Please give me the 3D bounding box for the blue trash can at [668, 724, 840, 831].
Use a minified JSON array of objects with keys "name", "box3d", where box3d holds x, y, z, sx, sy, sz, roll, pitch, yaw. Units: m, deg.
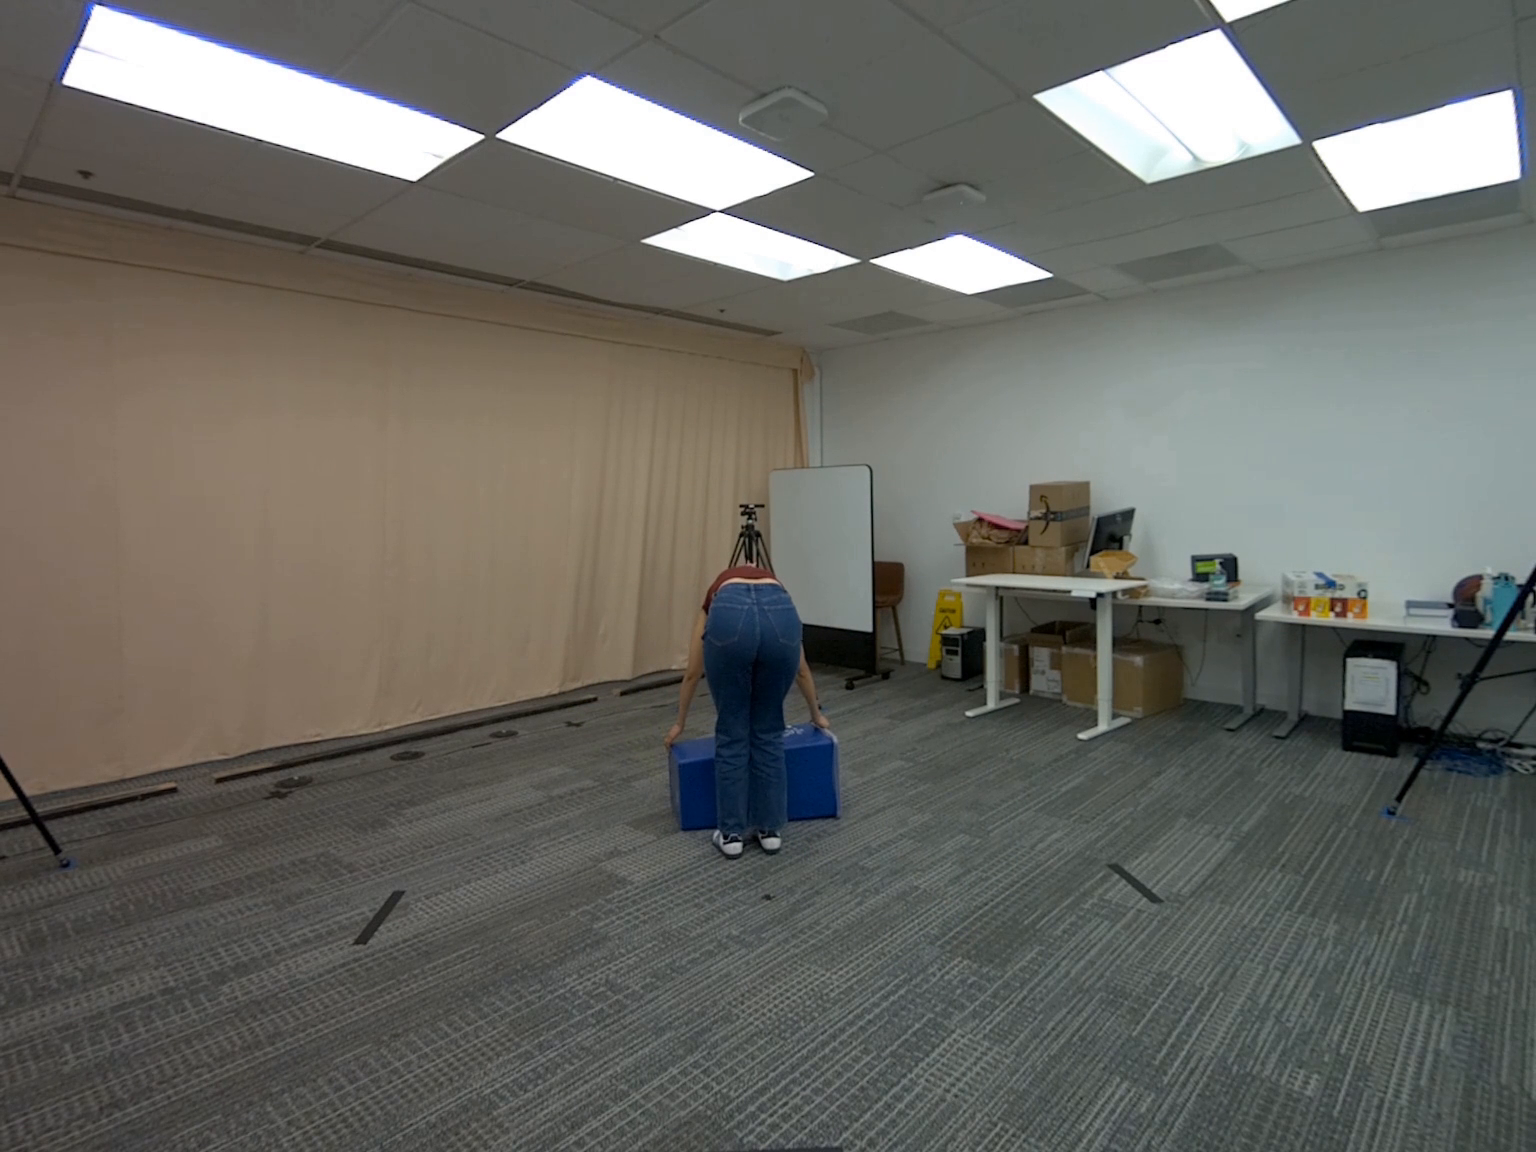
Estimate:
[{"name":"blue trash can","box3d":[-0.067,0.901,3.796,0.705,0.377,0.380,-5,5,-12]}]
